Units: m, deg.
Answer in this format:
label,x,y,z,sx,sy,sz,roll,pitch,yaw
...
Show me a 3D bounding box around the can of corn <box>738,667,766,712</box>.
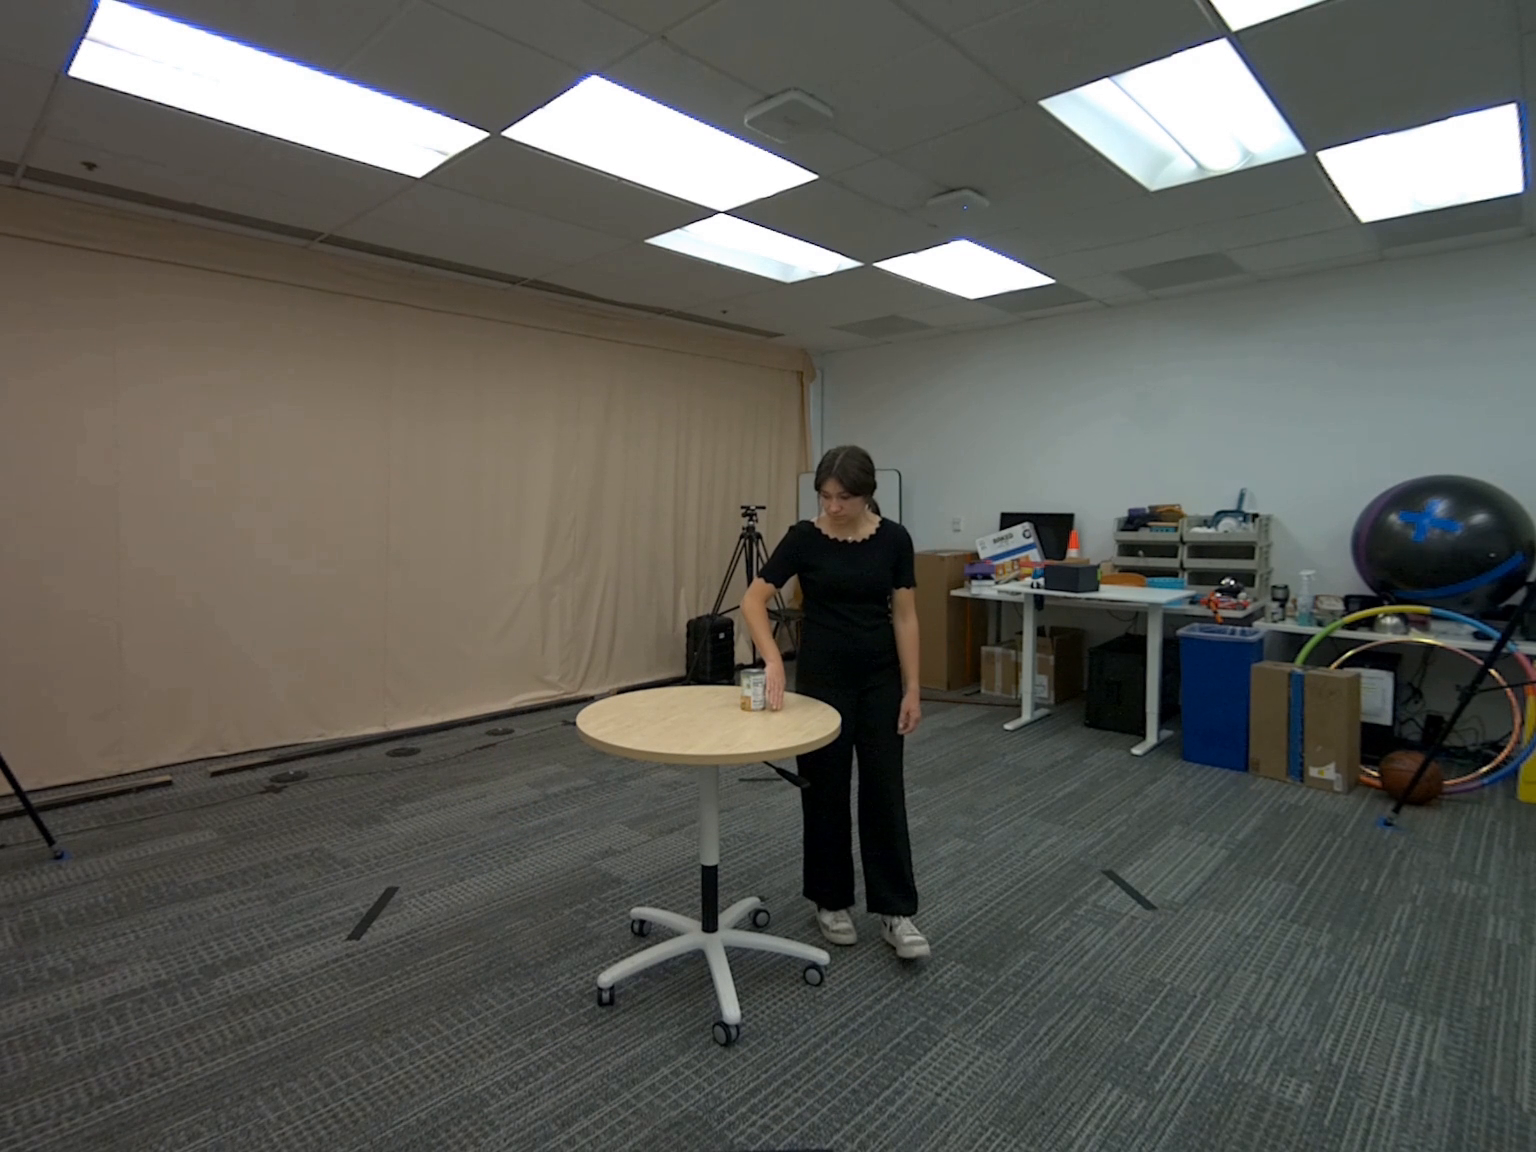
label,x,y,z,sx,sy,sz,roll,pitch,yaw
can of corn,-0.037,0.346,2.518,0.074,0.111,0.074,1,3,-2
